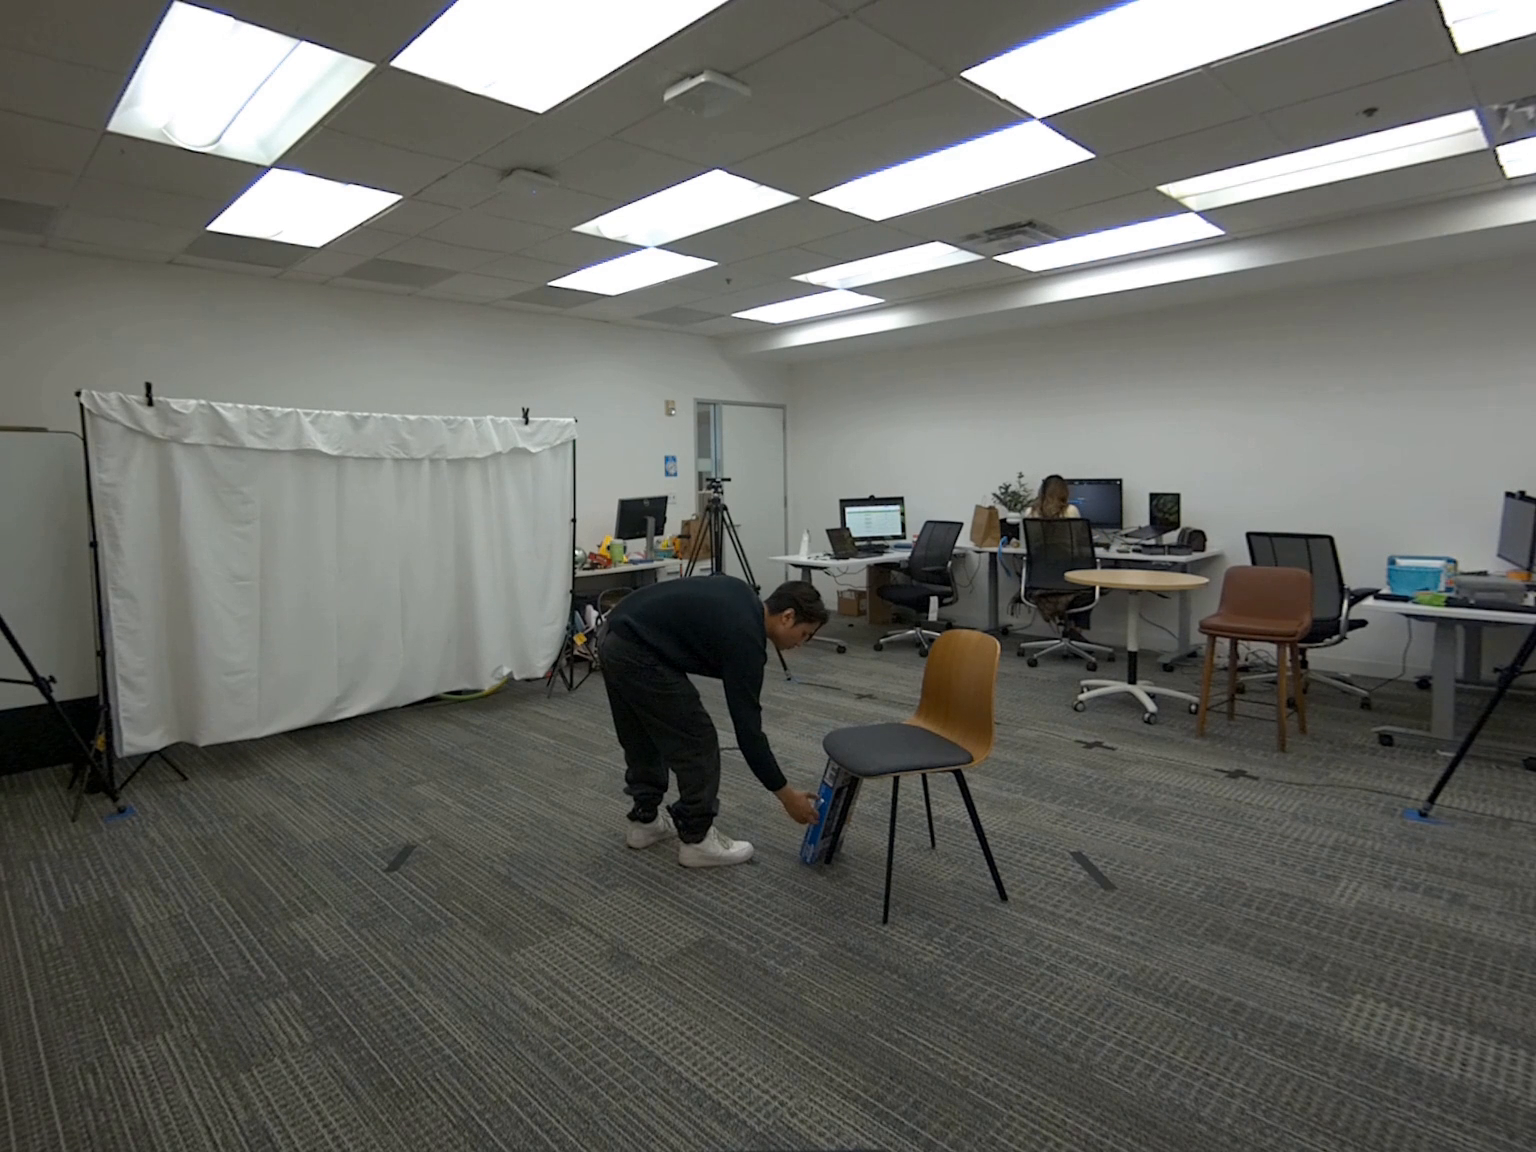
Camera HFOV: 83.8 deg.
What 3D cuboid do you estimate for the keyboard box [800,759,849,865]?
[{"bbox_3d":[0.244,0.821,3.083,0.171,0.432,0.061,-4,26,-43],"label":"keyboard box"}]
